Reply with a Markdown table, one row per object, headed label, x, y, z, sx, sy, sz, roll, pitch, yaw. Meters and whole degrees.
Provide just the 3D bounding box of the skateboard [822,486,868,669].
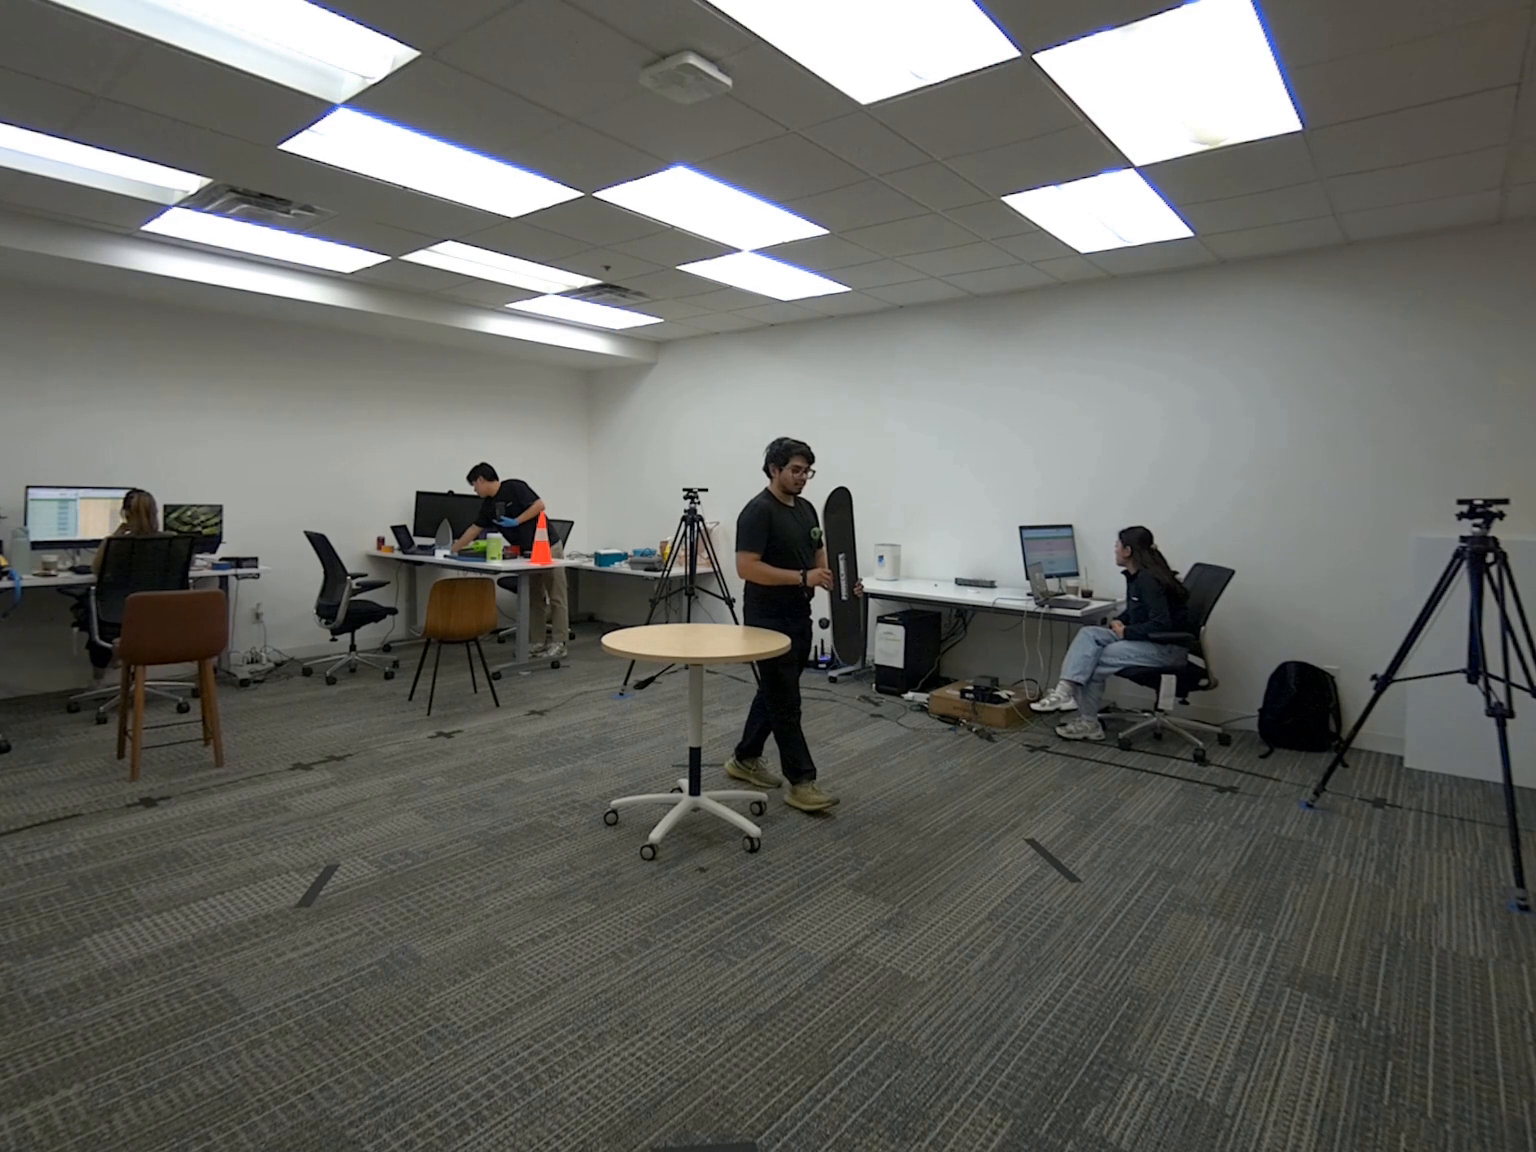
| label | x | y | z | sx | sy | sz | roll | pitch | yaw |
| --- | --- | --- | --- | --- | --- | --- | --- | --- | --- |
| skateboard | 0.297 | -0.006 | 3.705 | 0.189 | 0.778 | 0.114 | -12 | 11 | -39 |
